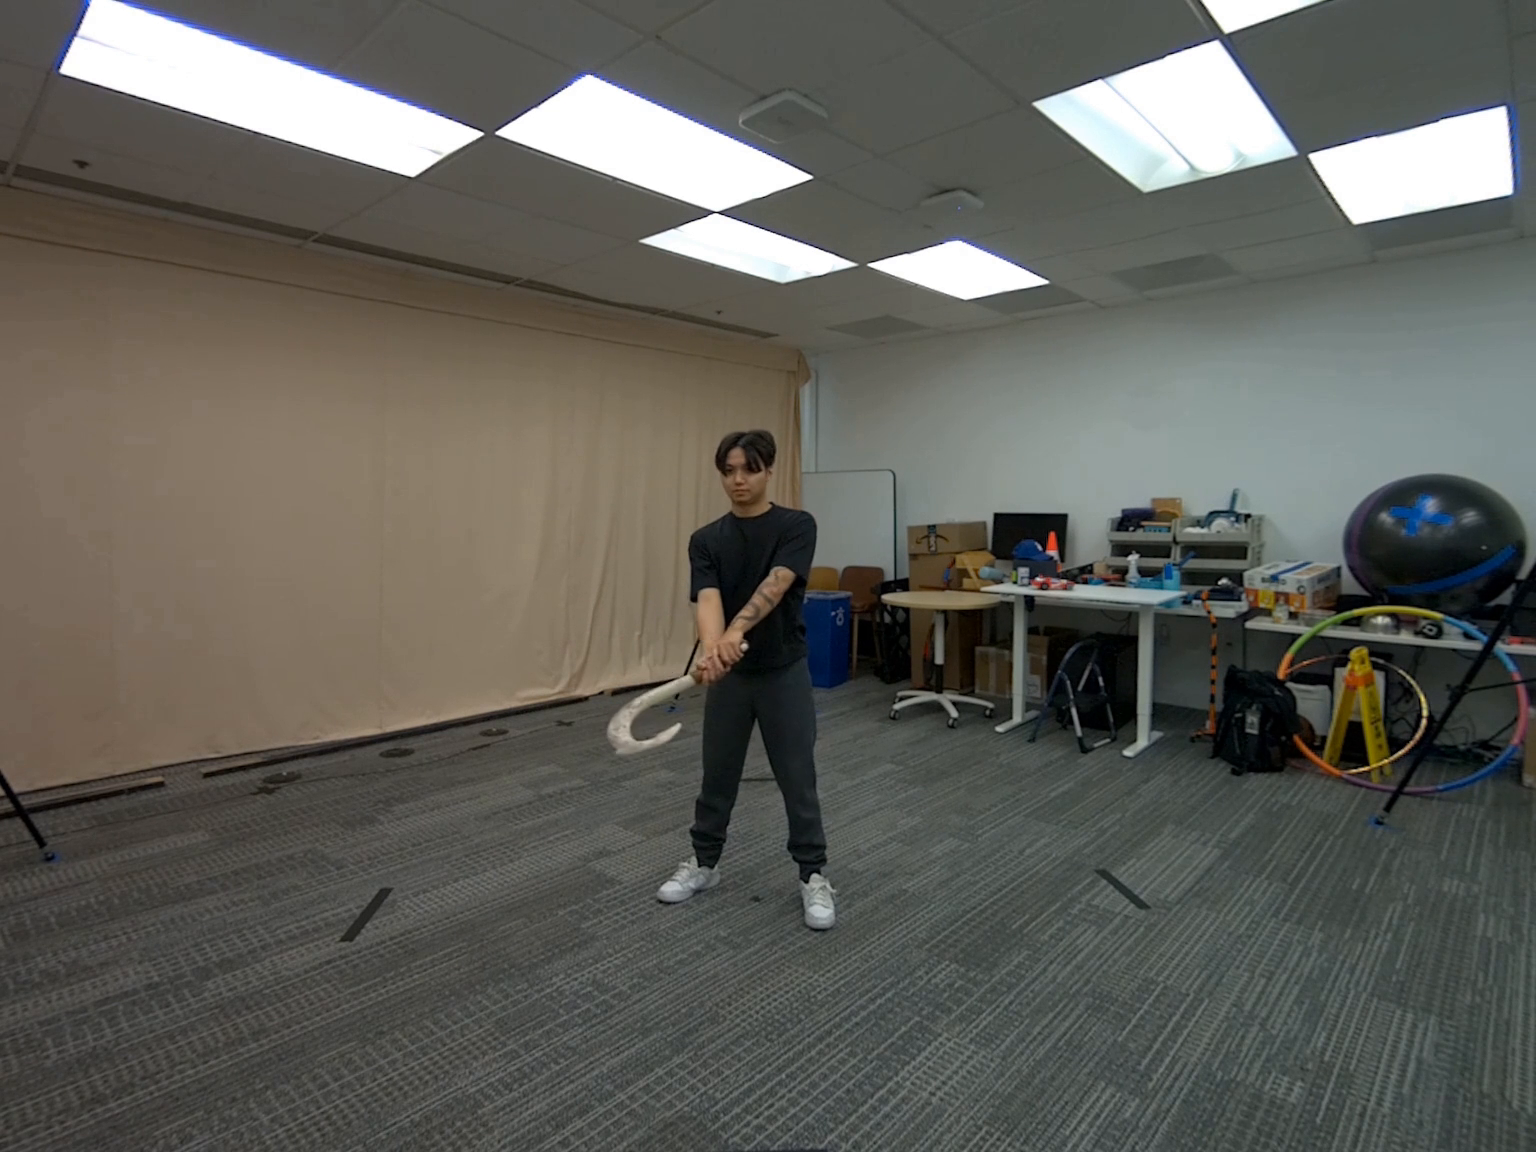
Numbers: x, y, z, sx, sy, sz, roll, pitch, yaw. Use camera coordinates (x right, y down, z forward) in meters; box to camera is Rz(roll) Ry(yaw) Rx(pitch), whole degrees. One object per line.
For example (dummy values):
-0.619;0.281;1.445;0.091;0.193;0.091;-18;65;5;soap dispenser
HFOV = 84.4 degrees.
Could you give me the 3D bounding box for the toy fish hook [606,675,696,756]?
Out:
-0.235;0.359;2.495;0.504;0.047;0.232;-33;39;-8;toy fish hook
